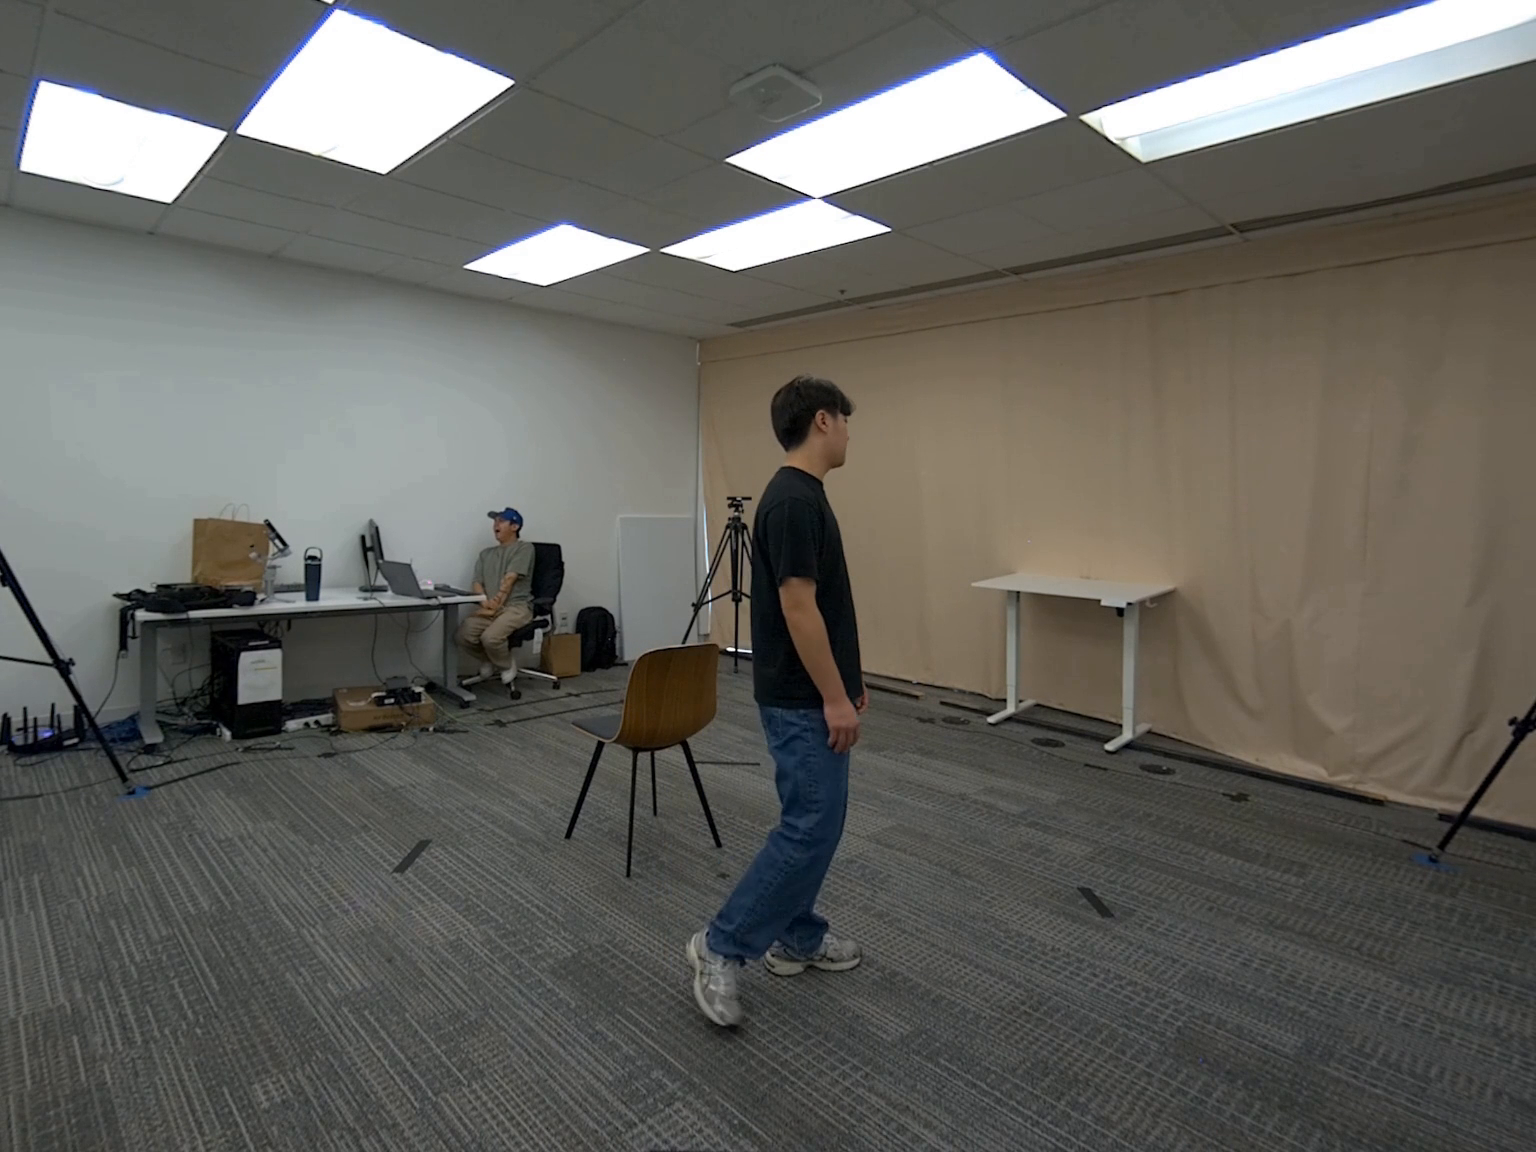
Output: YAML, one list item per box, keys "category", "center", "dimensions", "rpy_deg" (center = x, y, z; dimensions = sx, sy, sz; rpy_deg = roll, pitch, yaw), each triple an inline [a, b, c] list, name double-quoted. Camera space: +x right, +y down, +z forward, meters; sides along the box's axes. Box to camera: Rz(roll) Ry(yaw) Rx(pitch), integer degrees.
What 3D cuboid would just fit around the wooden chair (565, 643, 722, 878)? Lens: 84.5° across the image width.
- category: "wooden chair"
  center: [-0.498, 0.649, 3.355]
  dimensions: [0.467, 0.873, 0.537]
  rpy_deg: [-2, 9, -42]
